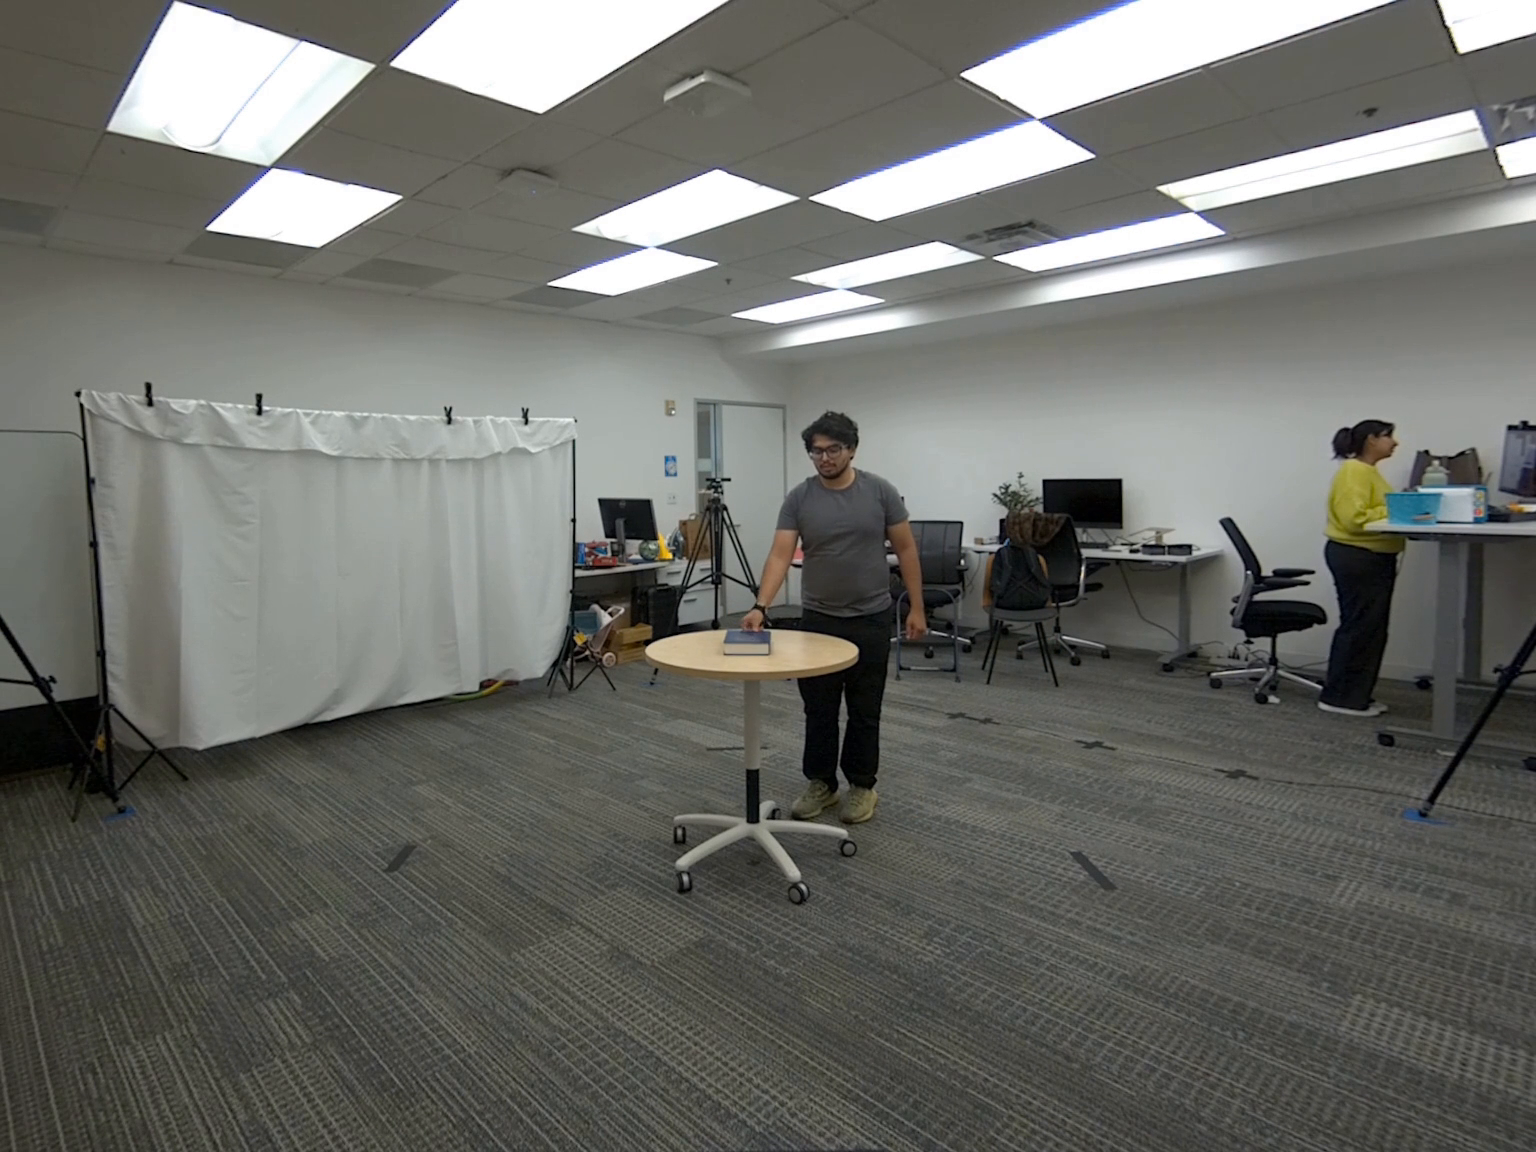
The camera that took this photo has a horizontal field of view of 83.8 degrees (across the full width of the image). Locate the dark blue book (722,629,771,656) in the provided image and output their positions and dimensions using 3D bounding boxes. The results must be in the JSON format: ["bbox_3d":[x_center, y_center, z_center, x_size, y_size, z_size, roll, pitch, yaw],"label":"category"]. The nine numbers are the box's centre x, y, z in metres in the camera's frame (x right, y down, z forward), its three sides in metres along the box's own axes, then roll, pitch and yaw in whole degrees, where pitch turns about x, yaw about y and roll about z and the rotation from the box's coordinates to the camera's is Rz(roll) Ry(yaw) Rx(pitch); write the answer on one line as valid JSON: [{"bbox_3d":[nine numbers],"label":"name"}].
[{"bbox_3d":[-0.062,0.241,3.073,0.164,0.045,0.246,-1,7,1],"label":"dark blue book"}]
